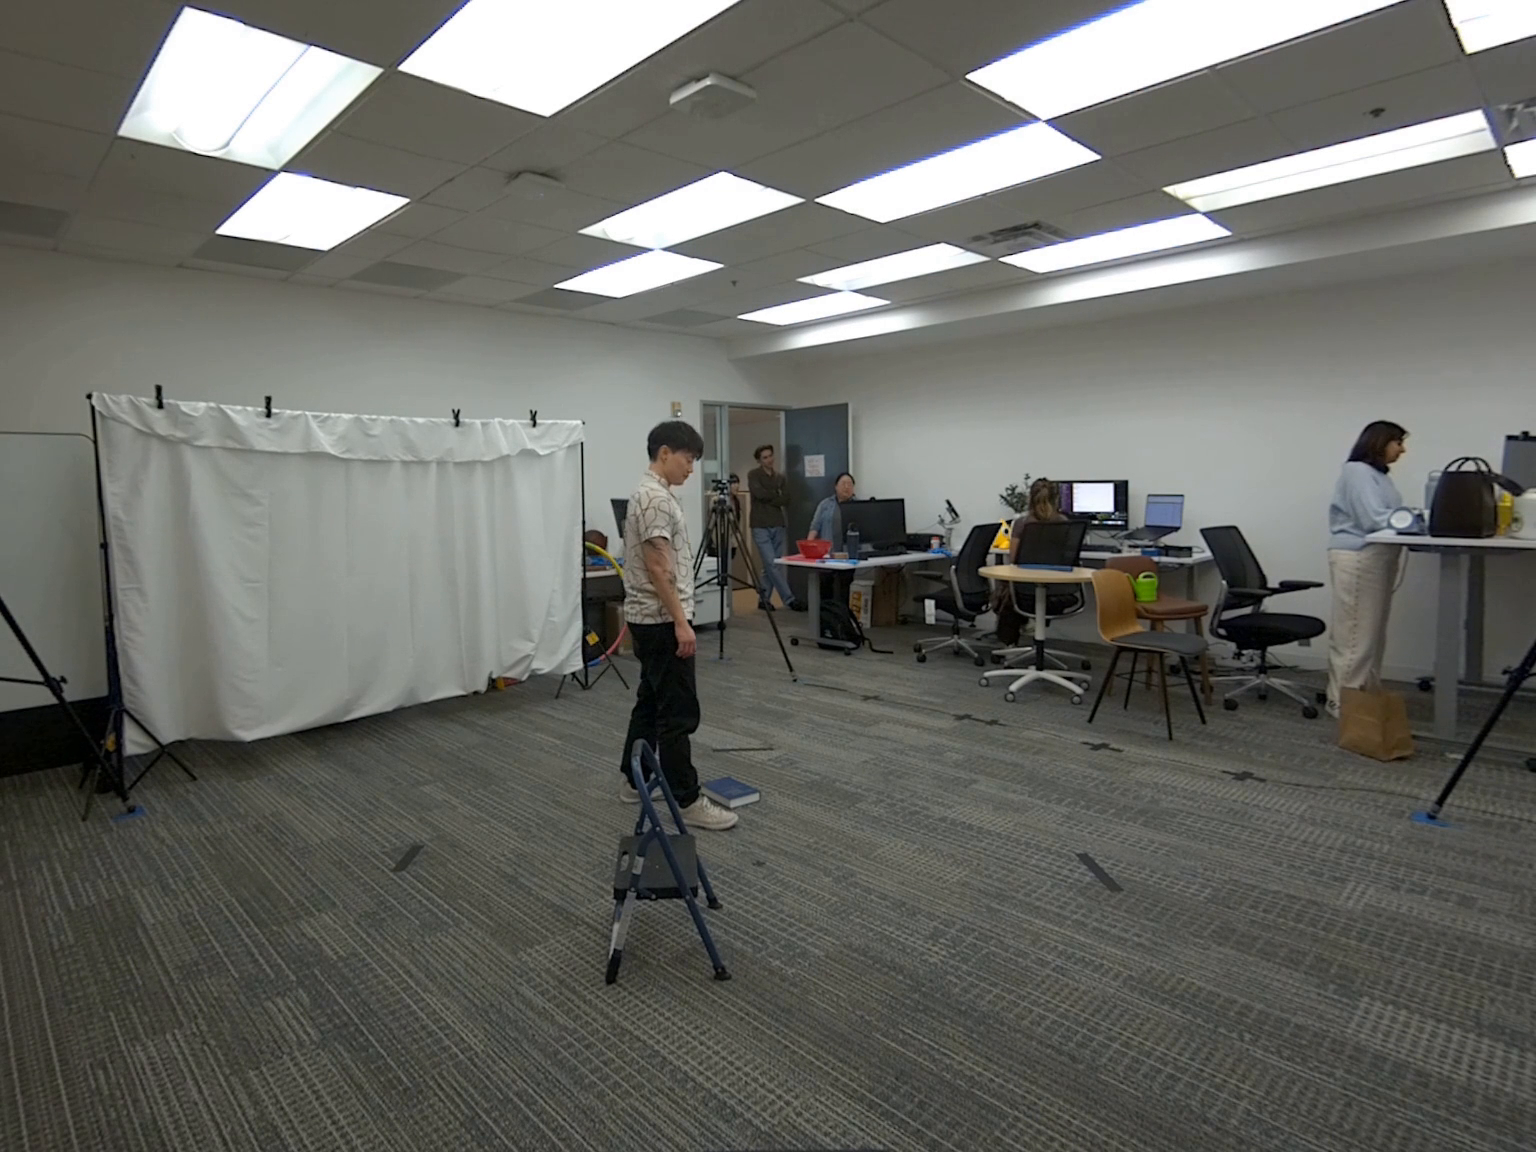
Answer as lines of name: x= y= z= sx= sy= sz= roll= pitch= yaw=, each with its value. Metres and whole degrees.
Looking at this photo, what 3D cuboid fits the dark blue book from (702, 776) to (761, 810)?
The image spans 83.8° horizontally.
dark blue book: x=-0.170 y=0.955 z=3.771 sx=0.159 sy=0.045 sz=0.252 roll=-5 pitch=7 yaw=-36
